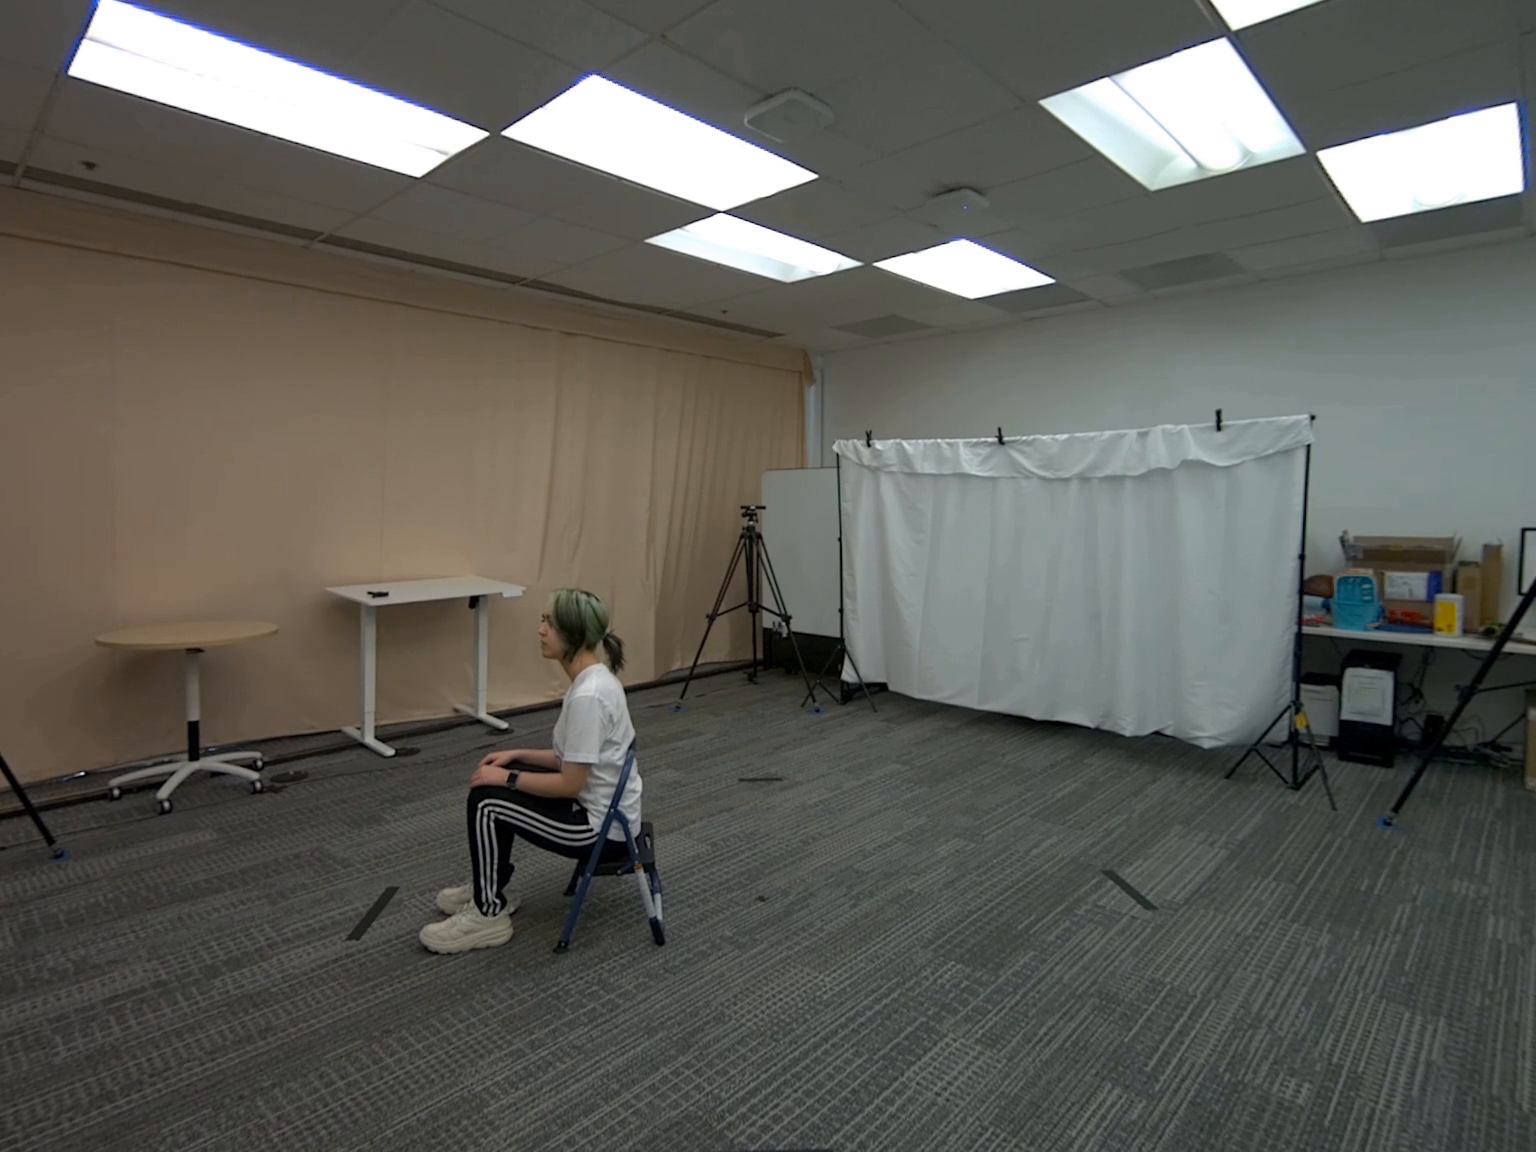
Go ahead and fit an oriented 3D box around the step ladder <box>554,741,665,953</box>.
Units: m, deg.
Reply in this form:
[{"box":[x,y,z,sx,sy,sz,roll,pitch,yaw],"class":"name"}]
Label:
[{"box":[-0.529,0.864,2.834,0.346,0.605,0.435,-2,3,-8],"class":"step ladder"}]
